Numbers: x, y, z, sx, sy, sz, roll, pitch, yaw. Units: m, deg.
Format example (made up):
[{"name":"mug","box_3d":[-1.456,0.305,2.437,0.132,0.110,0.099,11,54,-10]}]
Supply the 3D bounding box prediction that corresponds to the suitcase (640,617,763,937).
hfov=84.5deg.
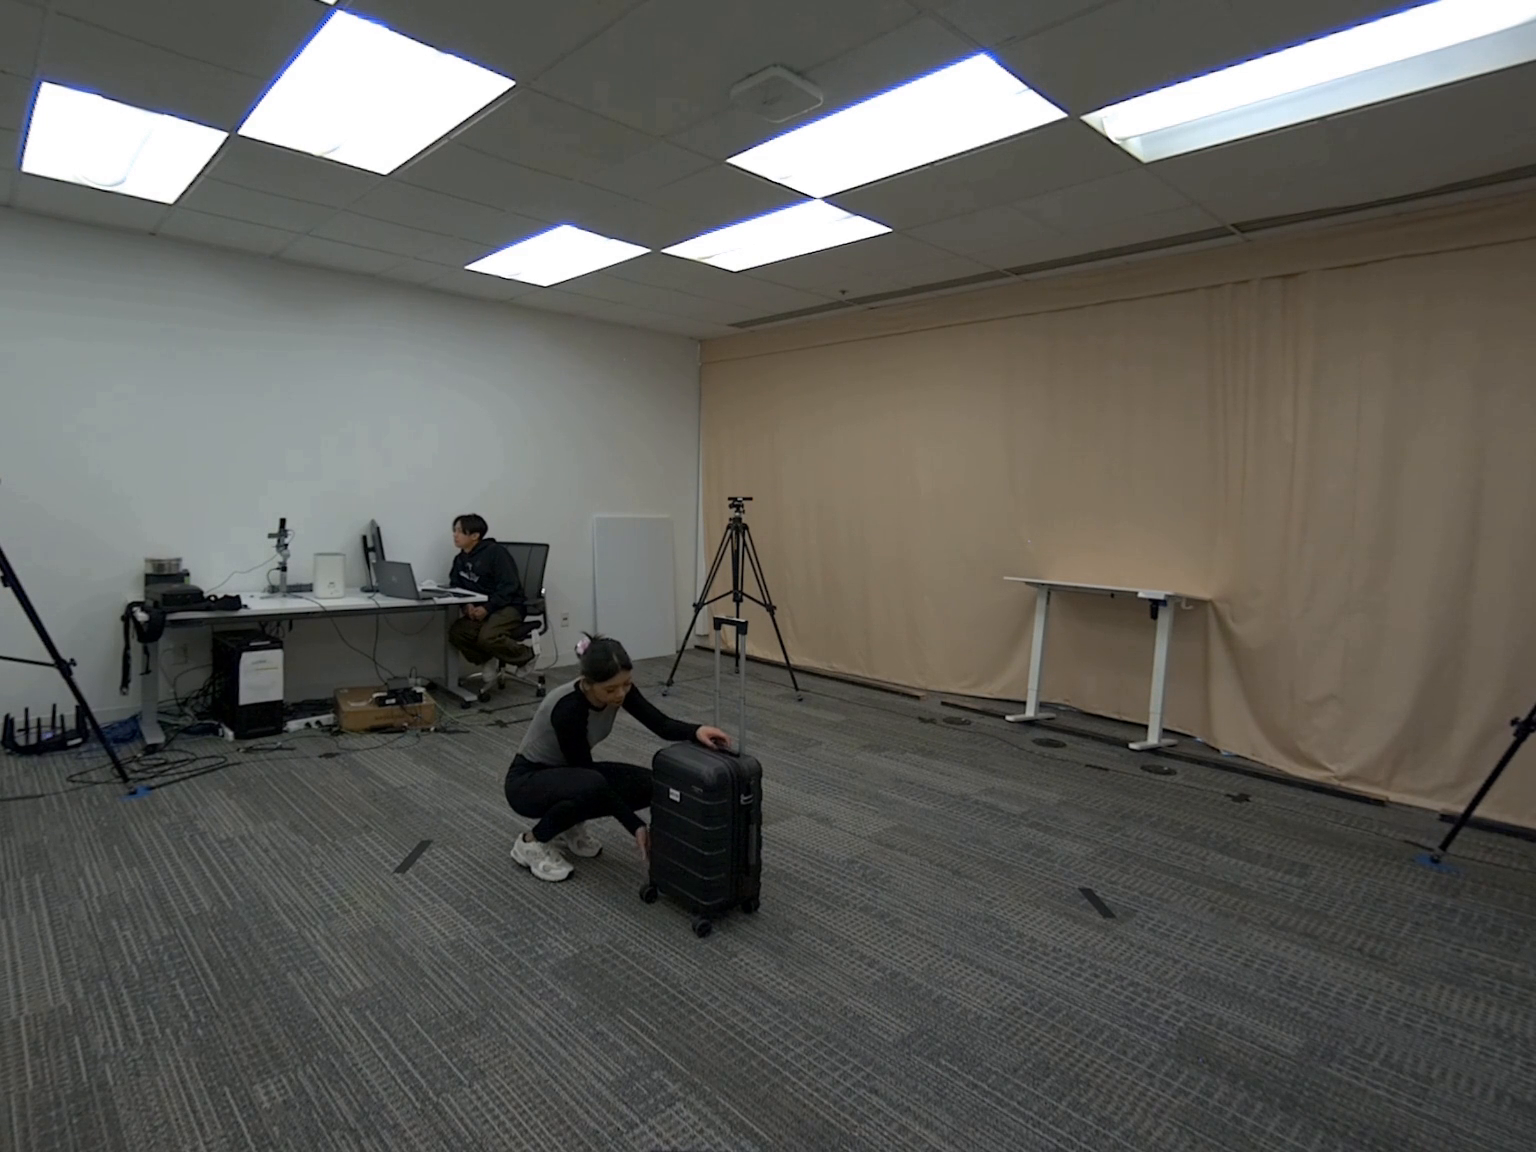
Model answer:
[{"name":"suitcase","box_3d":[-0.214,0.654,2.832,0.251,0.975,0.394,-4,6,-44]}]
